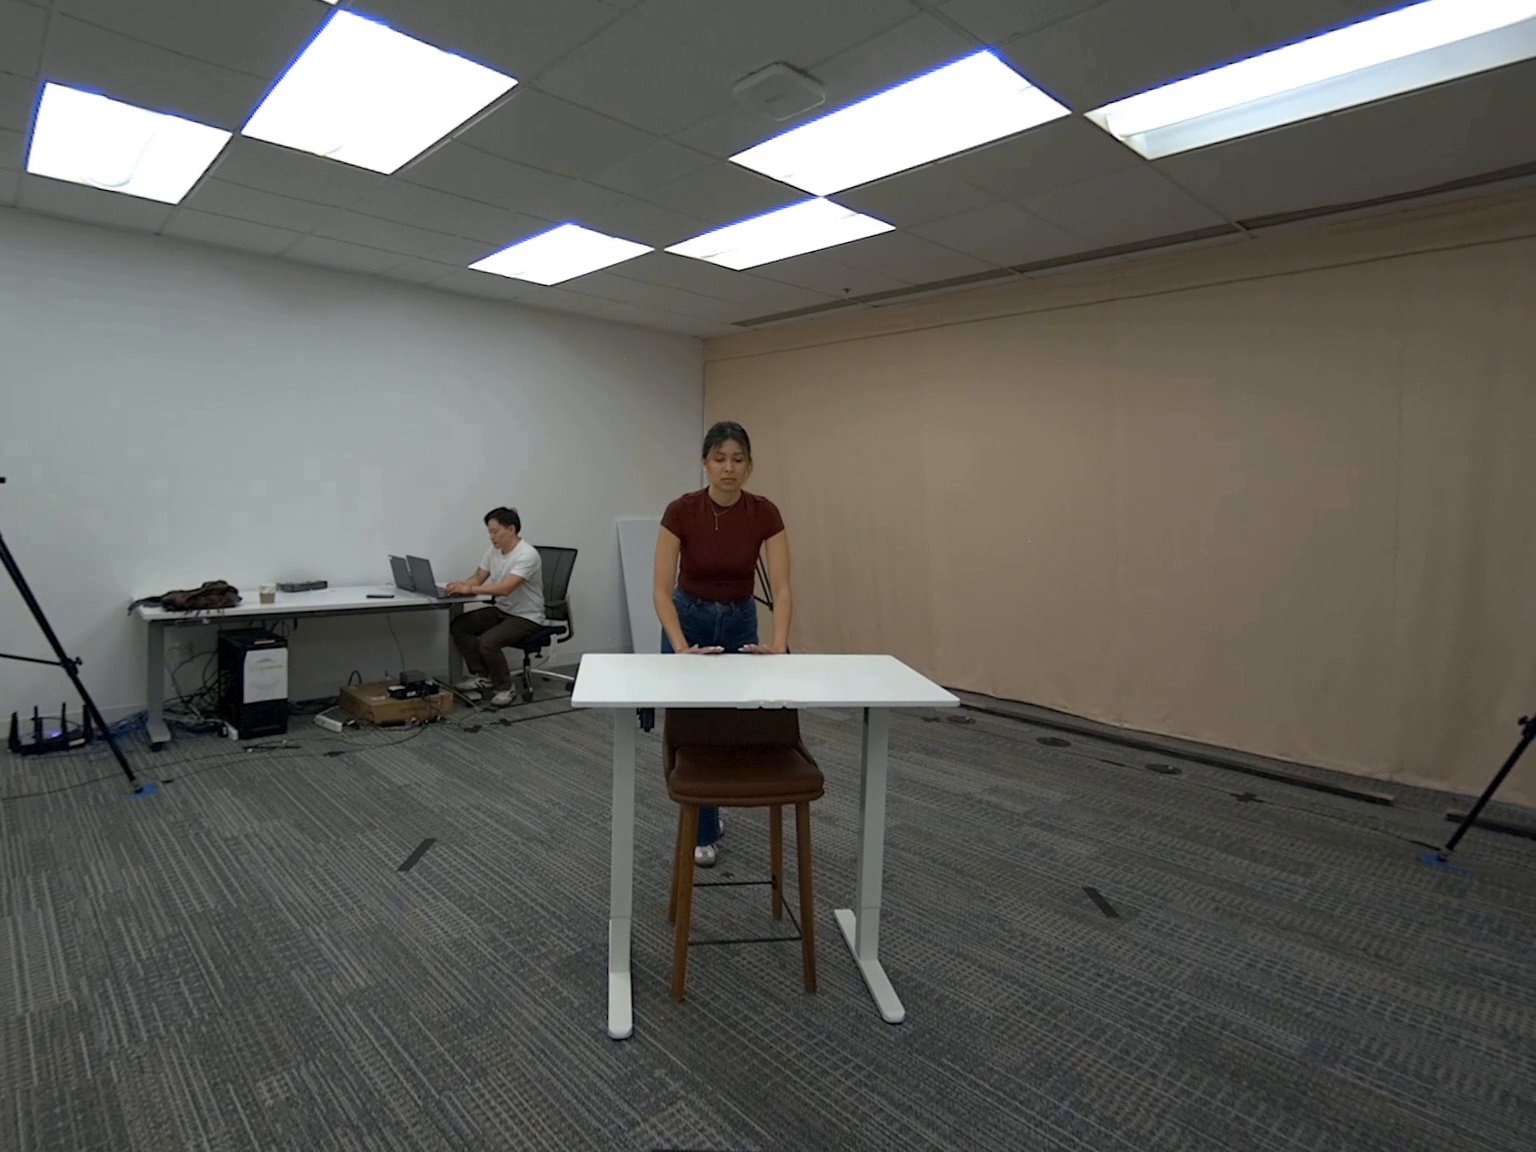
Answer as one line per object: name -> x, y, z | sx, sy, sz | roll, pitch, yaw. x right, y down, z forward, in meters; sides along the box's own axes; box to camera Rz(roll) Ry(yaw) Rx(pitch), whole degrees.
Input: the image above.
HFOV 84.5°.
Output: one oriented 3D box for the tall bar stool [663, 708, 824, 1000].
tall bar stool -> -0.104, 0.725, 2.543 | 0.454, 0.888, 0.471 | 0, 2, -7
